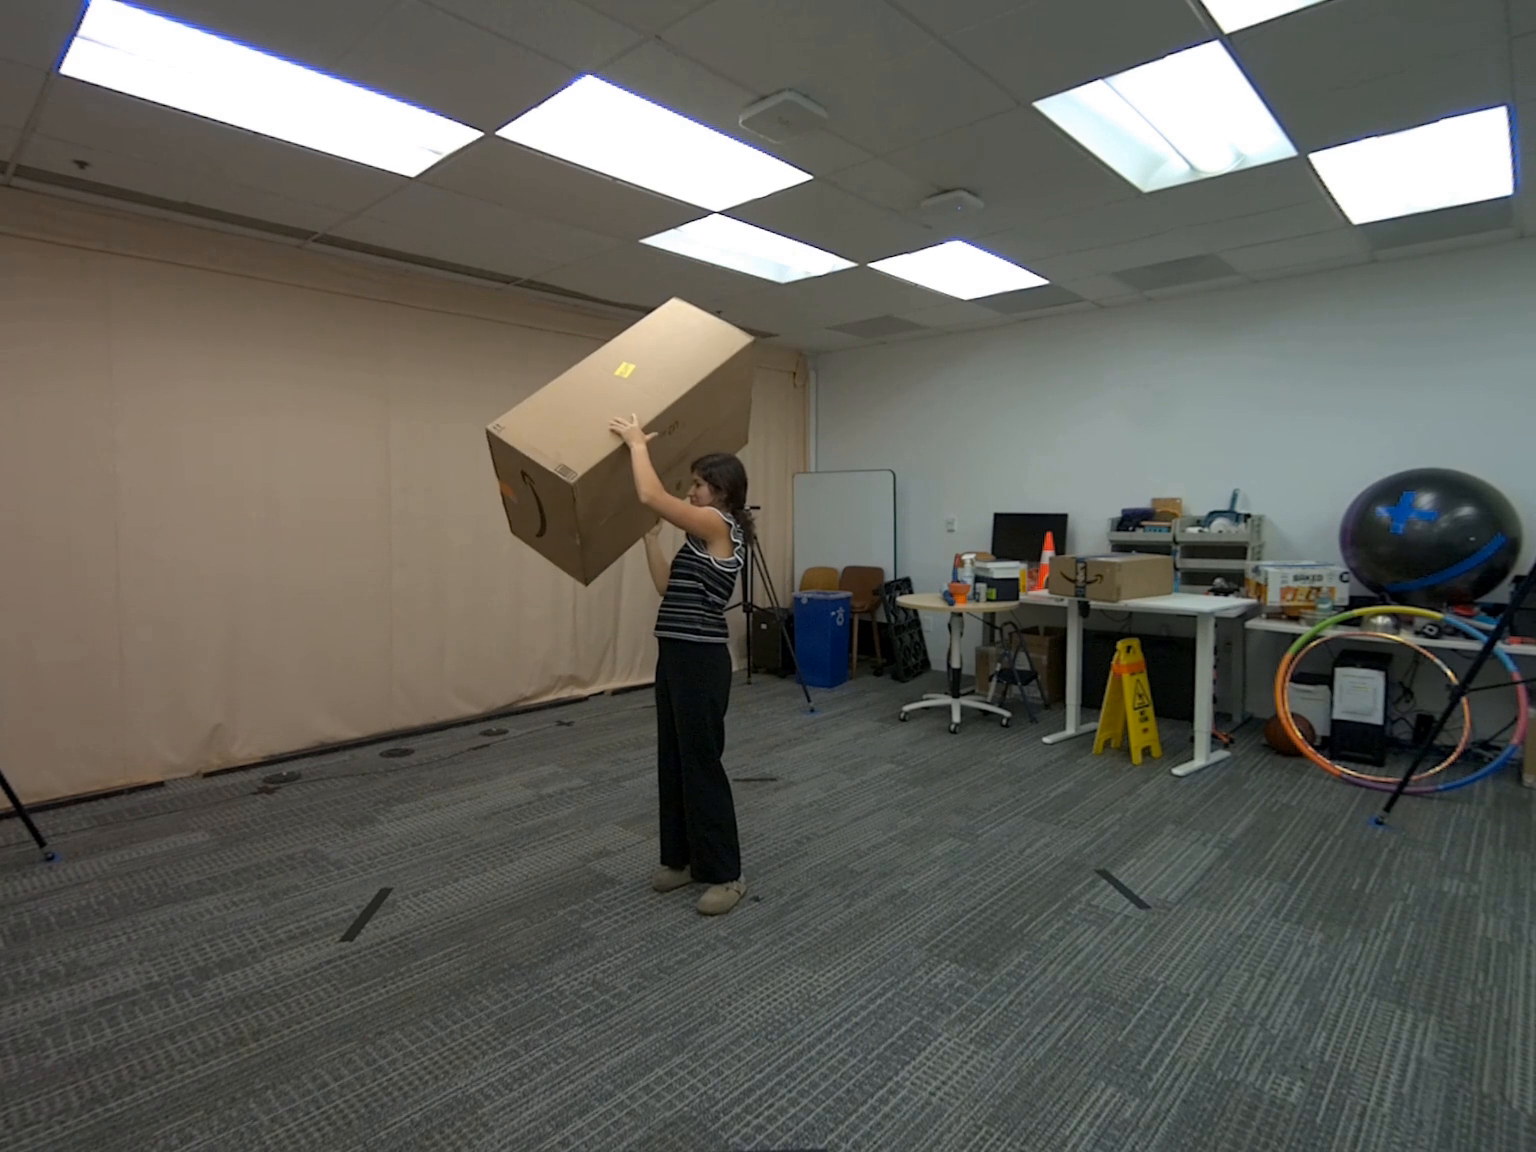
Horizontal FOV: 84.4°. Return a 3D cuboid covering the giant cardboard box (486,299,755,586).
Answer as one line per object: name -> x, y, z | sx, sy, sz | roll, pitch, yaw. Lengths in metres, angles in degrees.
giant cardboard box -> -0.533, -0.548, 3.314 | 0.437, 0.568, 1.017 | 33, 57, 19
